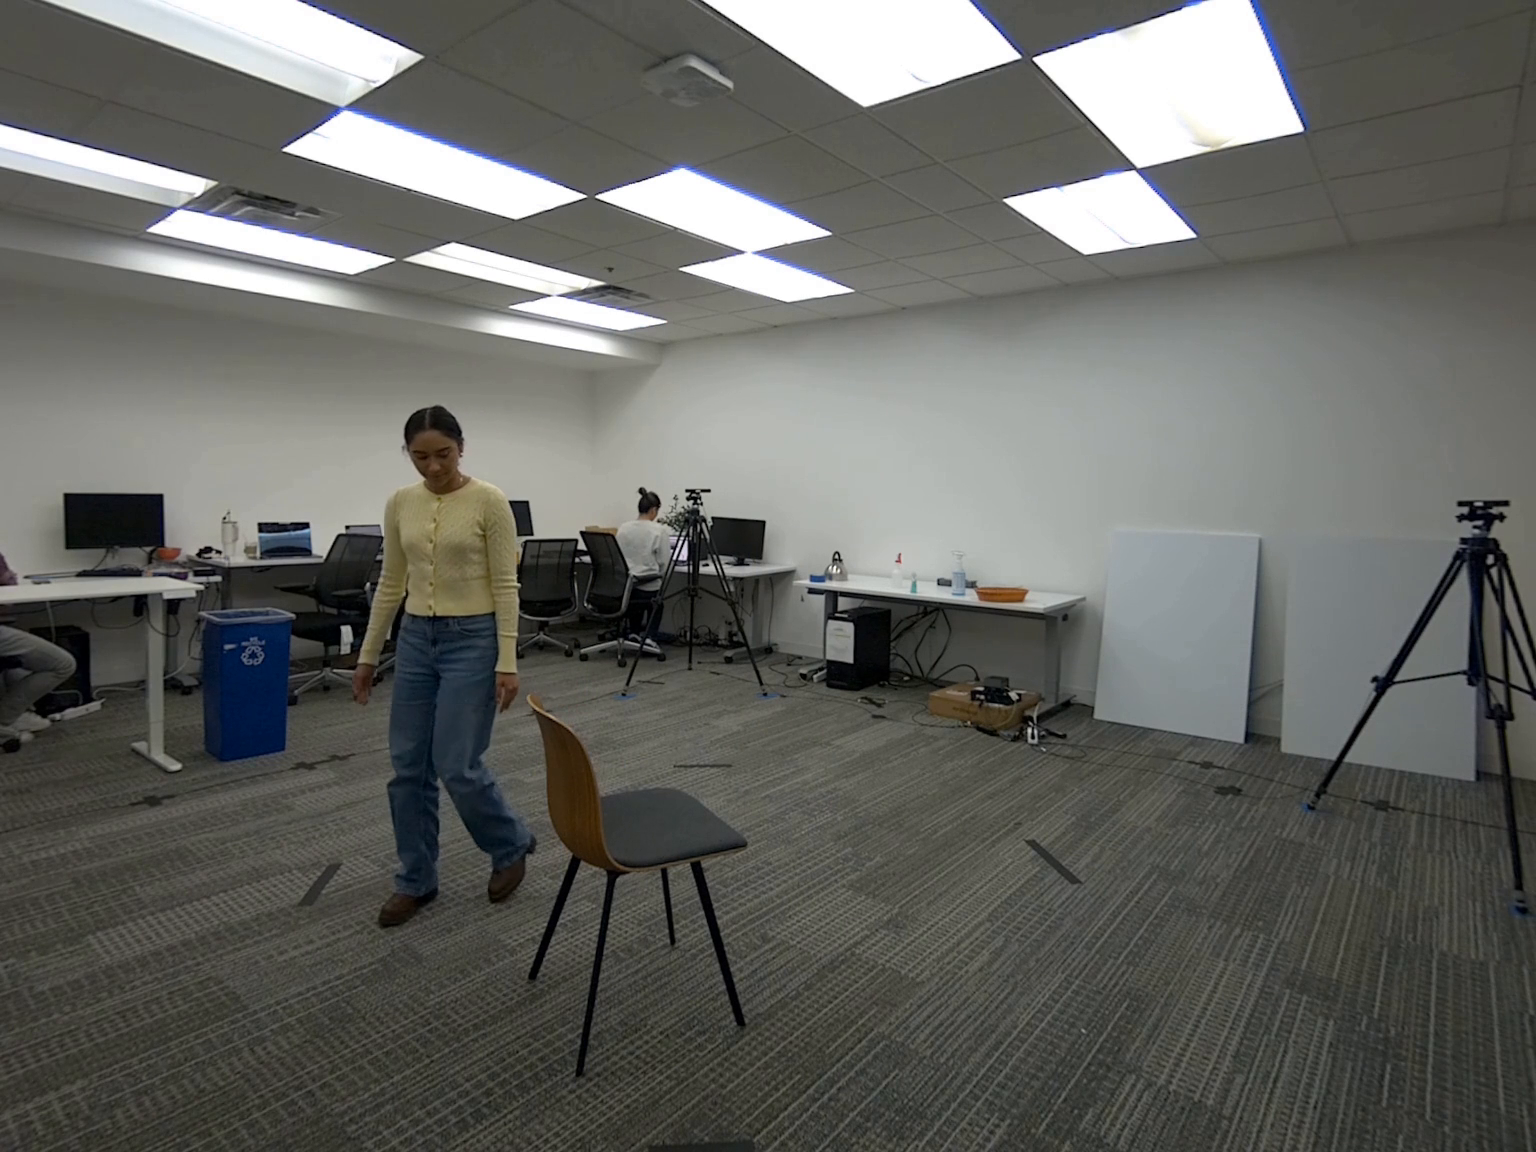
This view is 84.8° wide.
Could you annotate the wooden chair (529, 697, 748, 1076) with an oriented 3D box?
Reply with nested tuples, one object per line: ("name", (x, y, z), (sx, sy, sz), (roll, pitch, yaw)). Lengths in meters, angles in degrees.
("wooden chair", (-0.357, 0.725, 2.284), (0.511, 0.873, 0.492), (-6, 6, -29))
